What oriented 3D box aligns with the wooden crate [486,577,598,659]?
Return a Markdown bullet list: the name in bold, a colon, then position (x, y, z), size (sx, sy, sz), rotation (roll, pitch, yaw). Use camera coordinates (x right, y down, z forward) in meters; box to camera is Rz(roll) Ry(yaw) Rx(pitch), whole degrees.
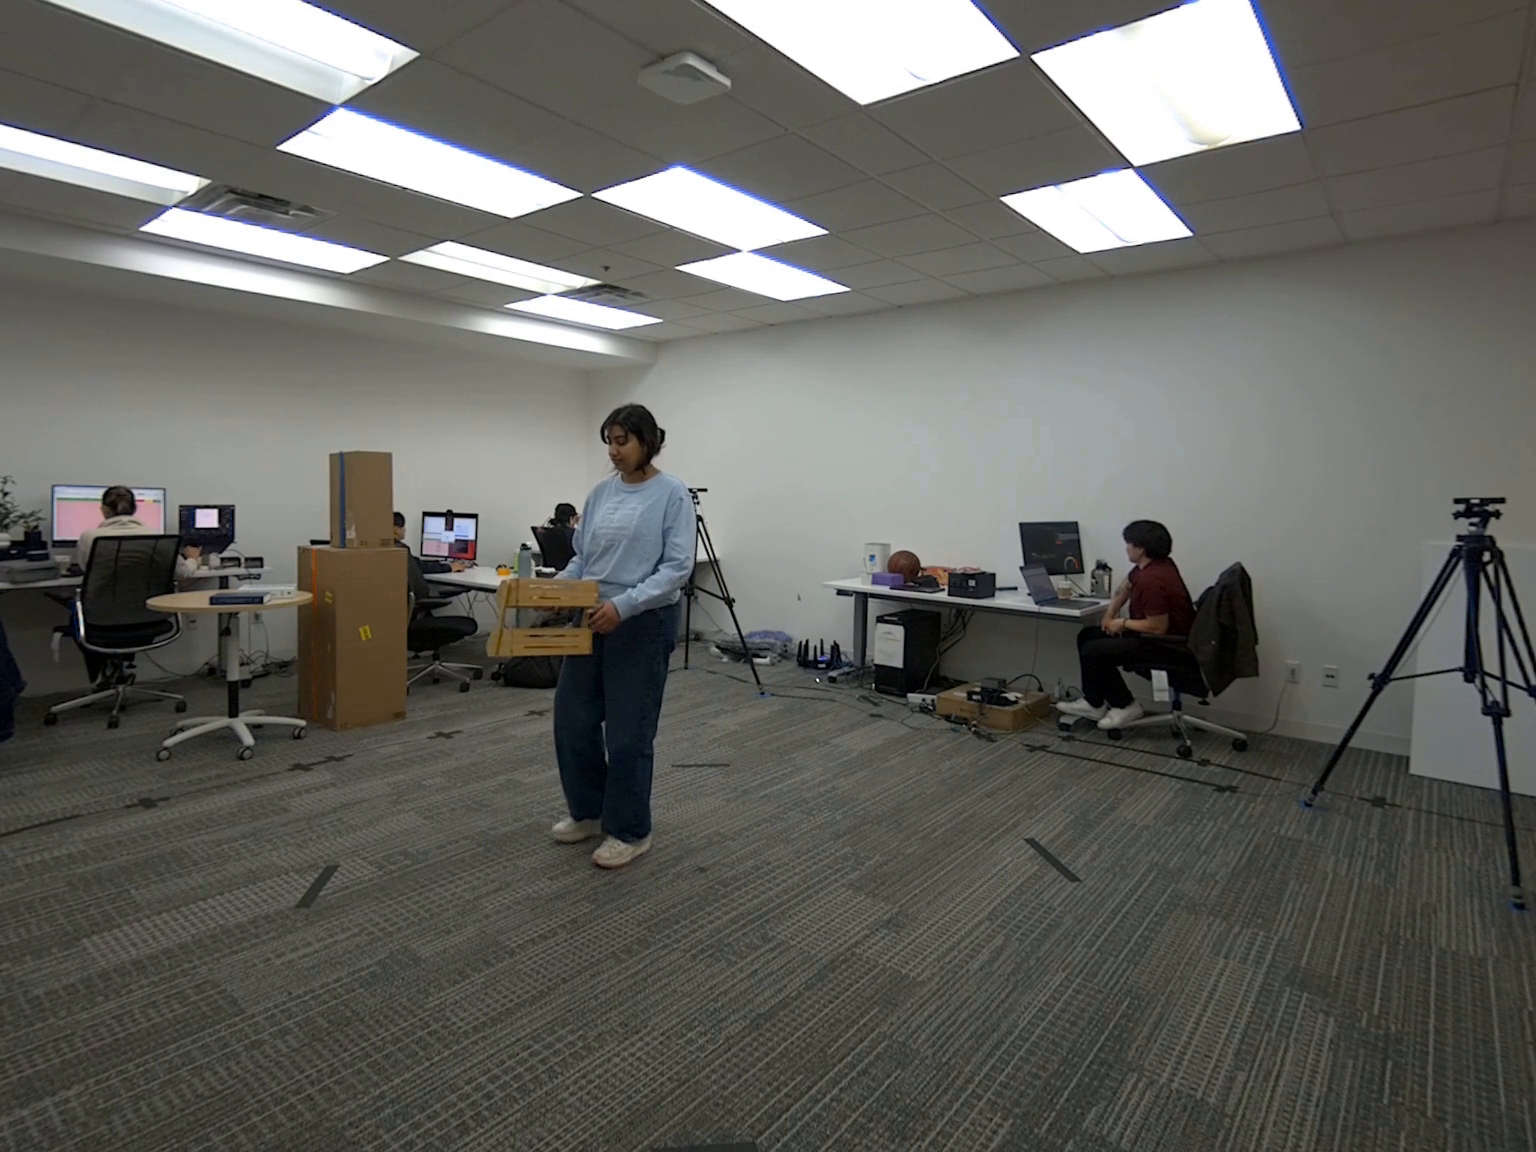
- **wooden crate**: position (-0.826, 0.149, 3.037), size (0.314, 0.275, 0.309), rotation (3, -8, -36)
